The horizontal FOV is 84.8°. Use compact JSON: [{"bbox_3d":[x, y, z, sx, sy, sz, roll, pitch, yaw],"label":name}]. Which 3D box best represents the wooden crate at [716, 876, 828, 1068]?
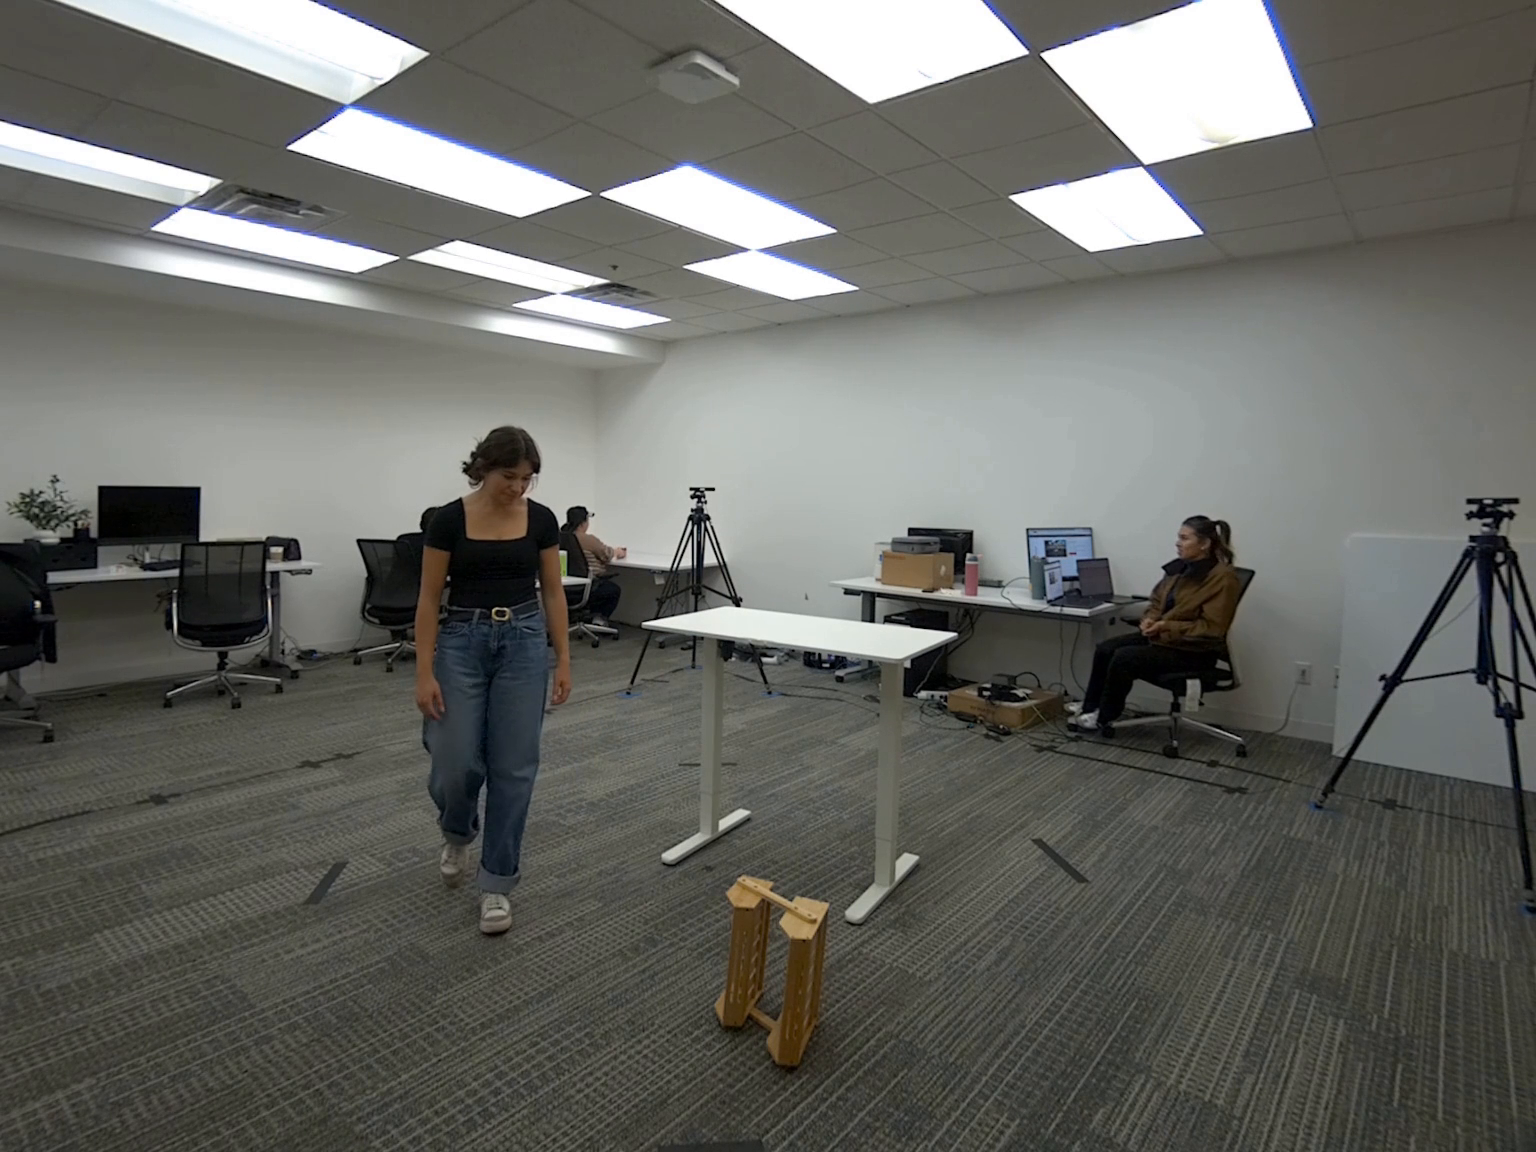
[{"bbox_3d":[-0.011,0.997,2.190,0.279,0.325,0.296,6,0,17],"label":"wooden crate"}]
